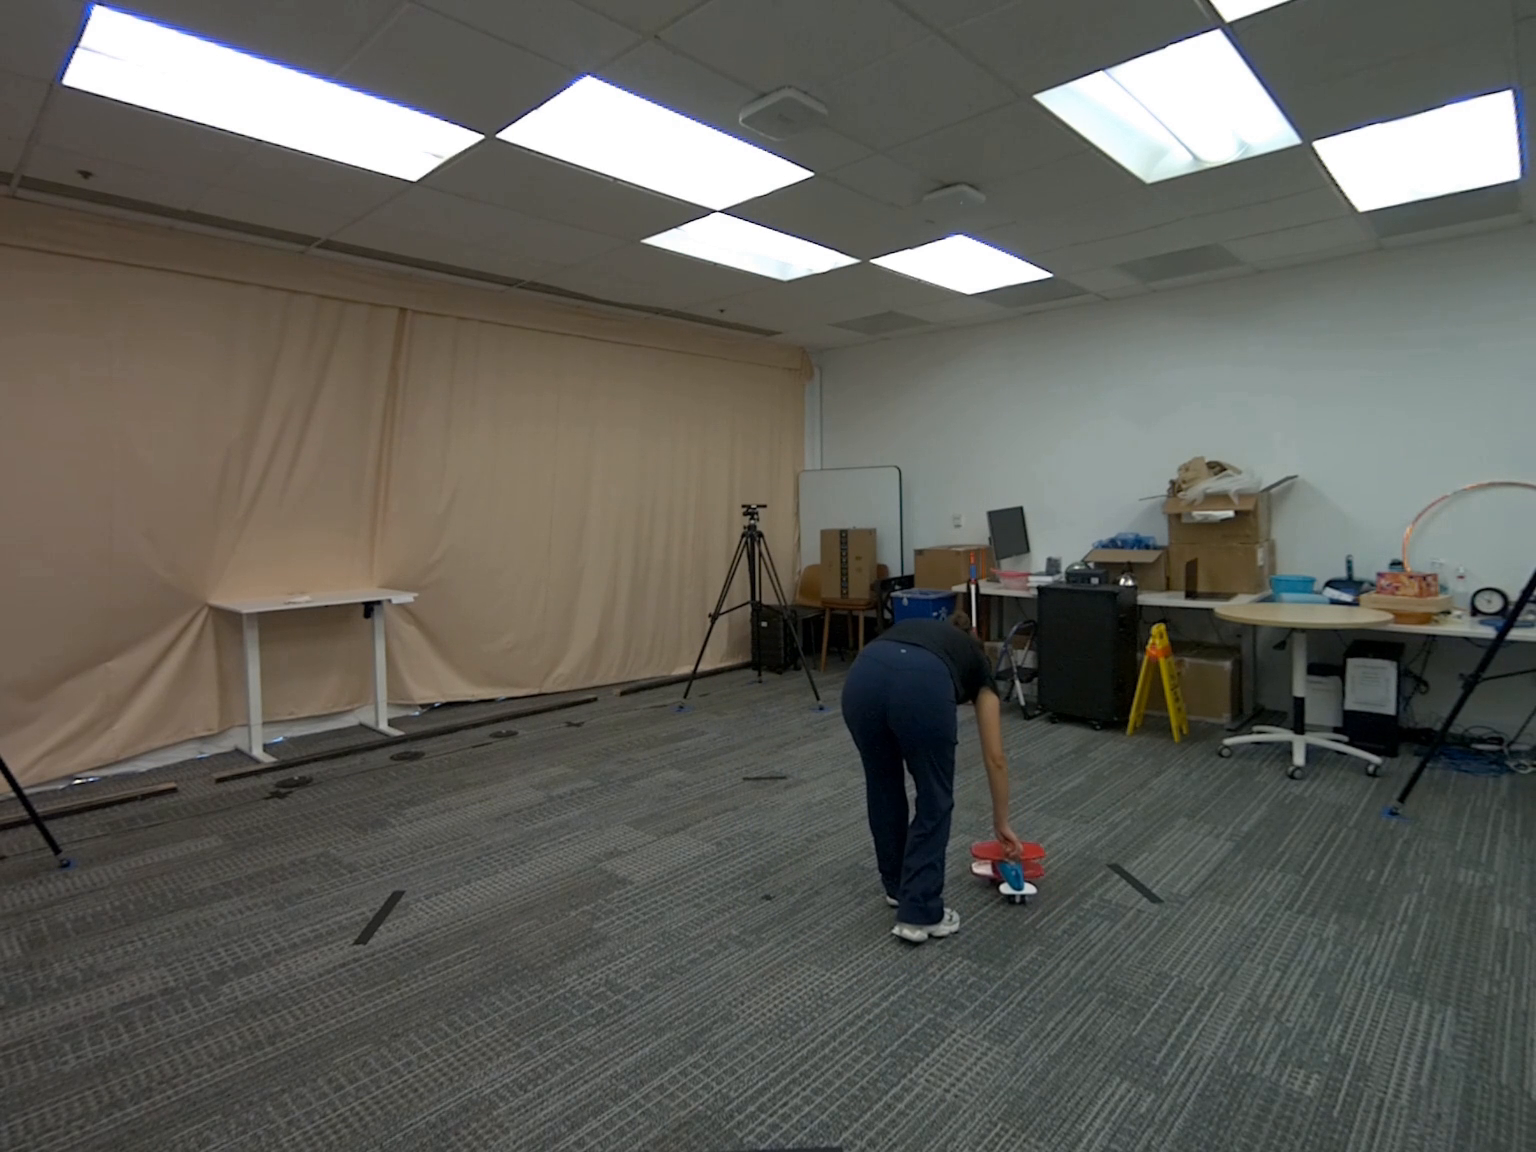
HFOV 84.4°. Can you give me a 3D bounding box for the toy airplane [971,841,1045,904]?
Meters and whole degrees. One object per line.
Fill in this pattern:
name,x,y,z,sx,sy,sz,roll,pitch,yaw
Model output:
toy airplane,0.895,1.049,2.999,0.245,0.156,0.266,-4,6,-25
